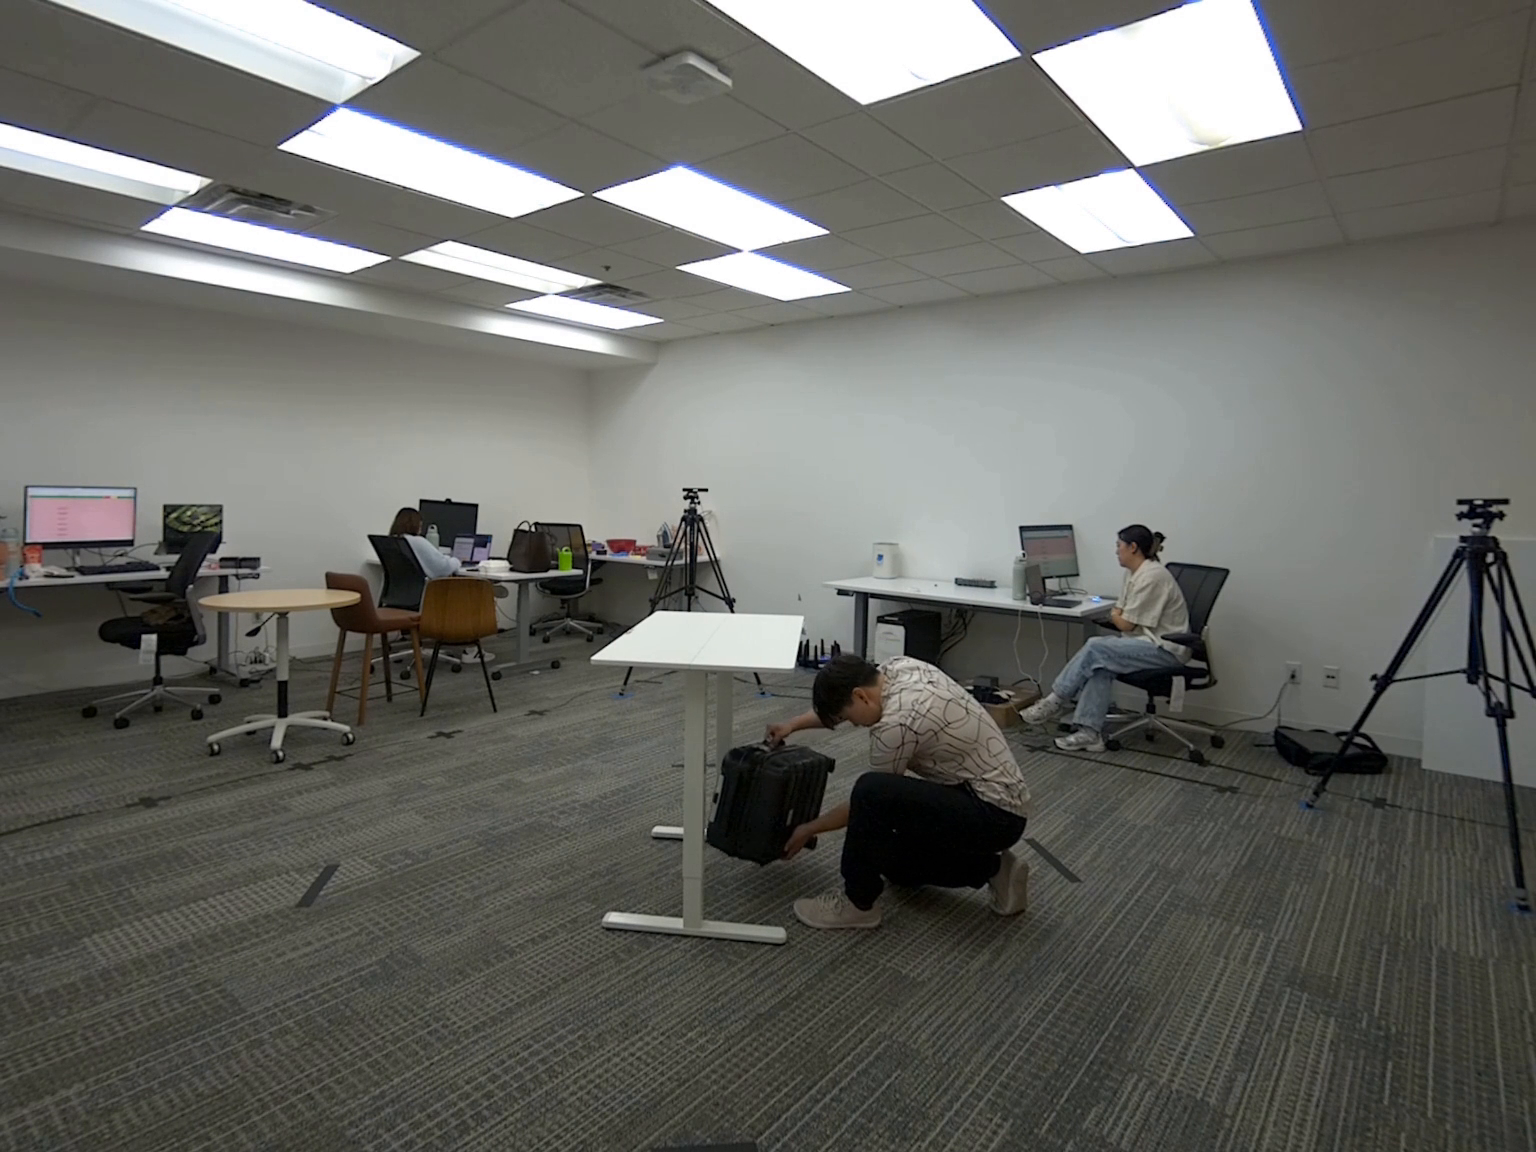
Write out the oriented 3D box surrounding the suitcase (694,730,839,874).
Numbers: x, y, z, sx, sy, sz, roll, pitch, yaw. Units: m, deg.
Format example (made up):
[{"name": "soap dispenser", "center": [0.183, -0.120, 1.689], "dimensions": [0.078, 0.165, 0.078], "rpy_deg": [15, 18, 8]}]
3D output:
[{"name": "suitcase", "center": [0.010, 0.777, 3.013], "dimensions": [0.255, 0.376, 0.532], "rpy_deg": [11, -3, 25]}]
